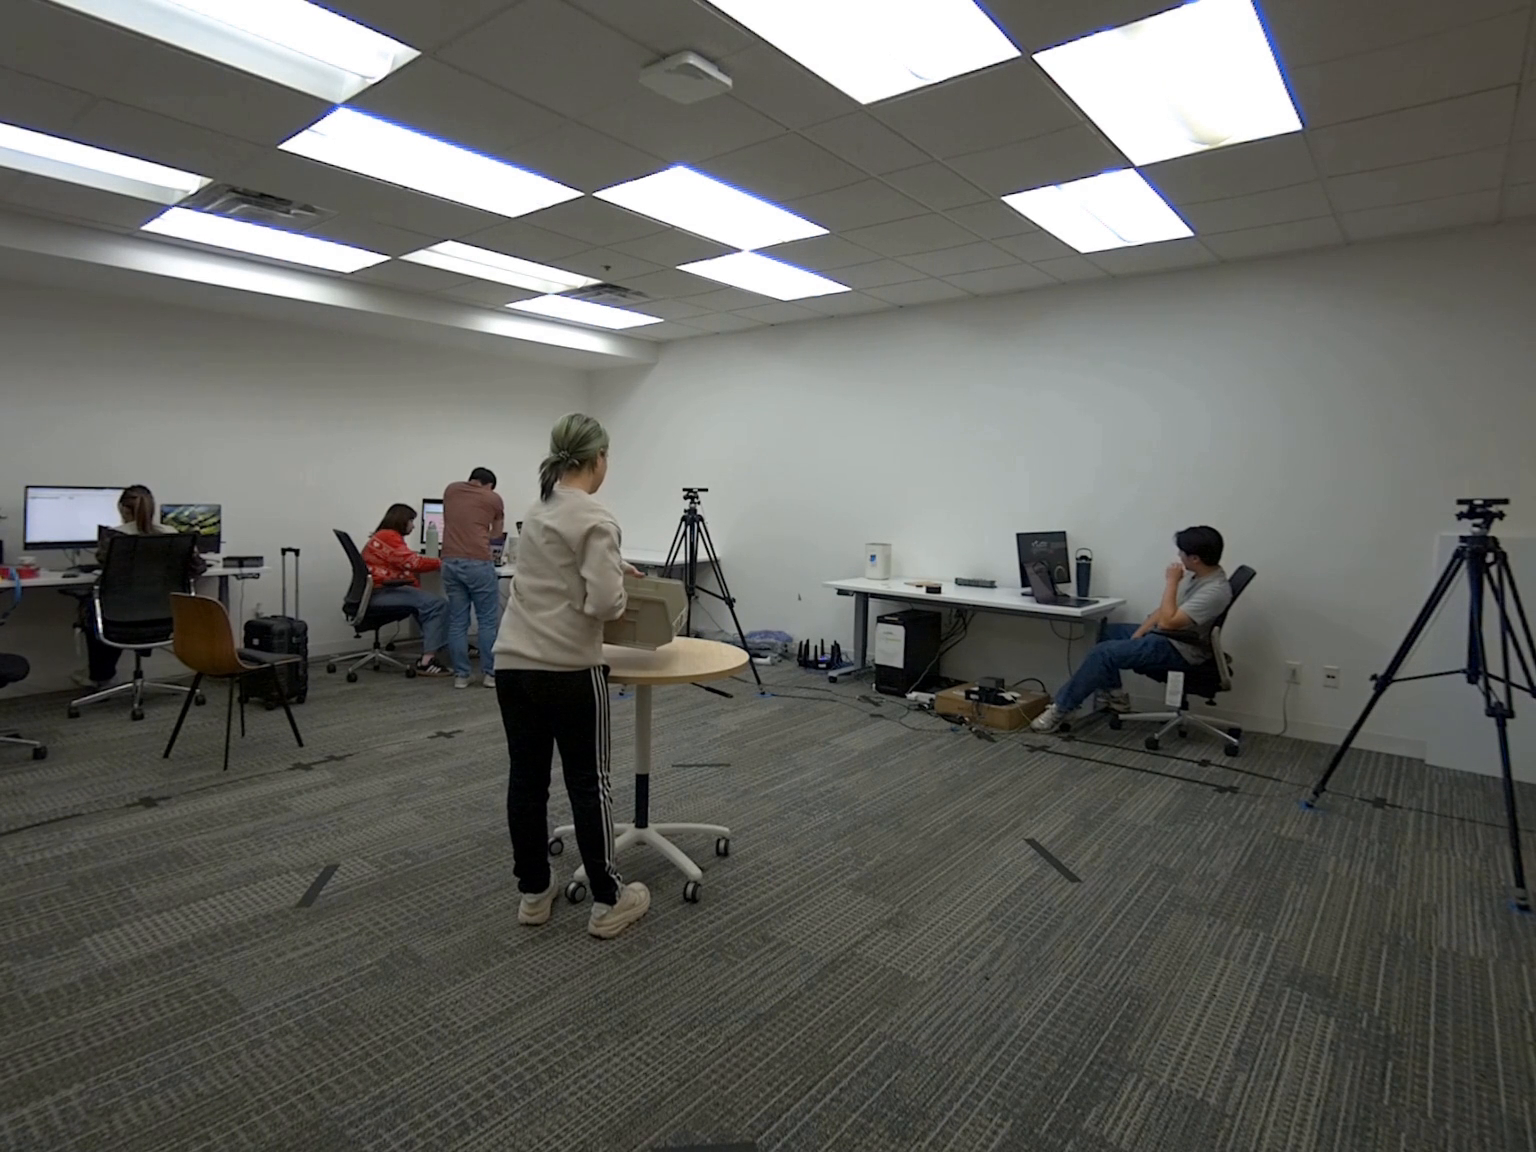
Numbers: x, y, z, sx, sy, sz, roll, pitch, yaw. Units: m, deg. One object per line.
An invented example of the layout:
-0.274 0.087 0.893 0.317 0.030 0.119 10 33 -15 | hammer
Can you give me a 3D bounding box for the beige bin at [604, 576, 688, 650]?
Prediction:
-0.496 0.119 3.009 0.378 0.187 0.425 5 10 1 | beige bin
